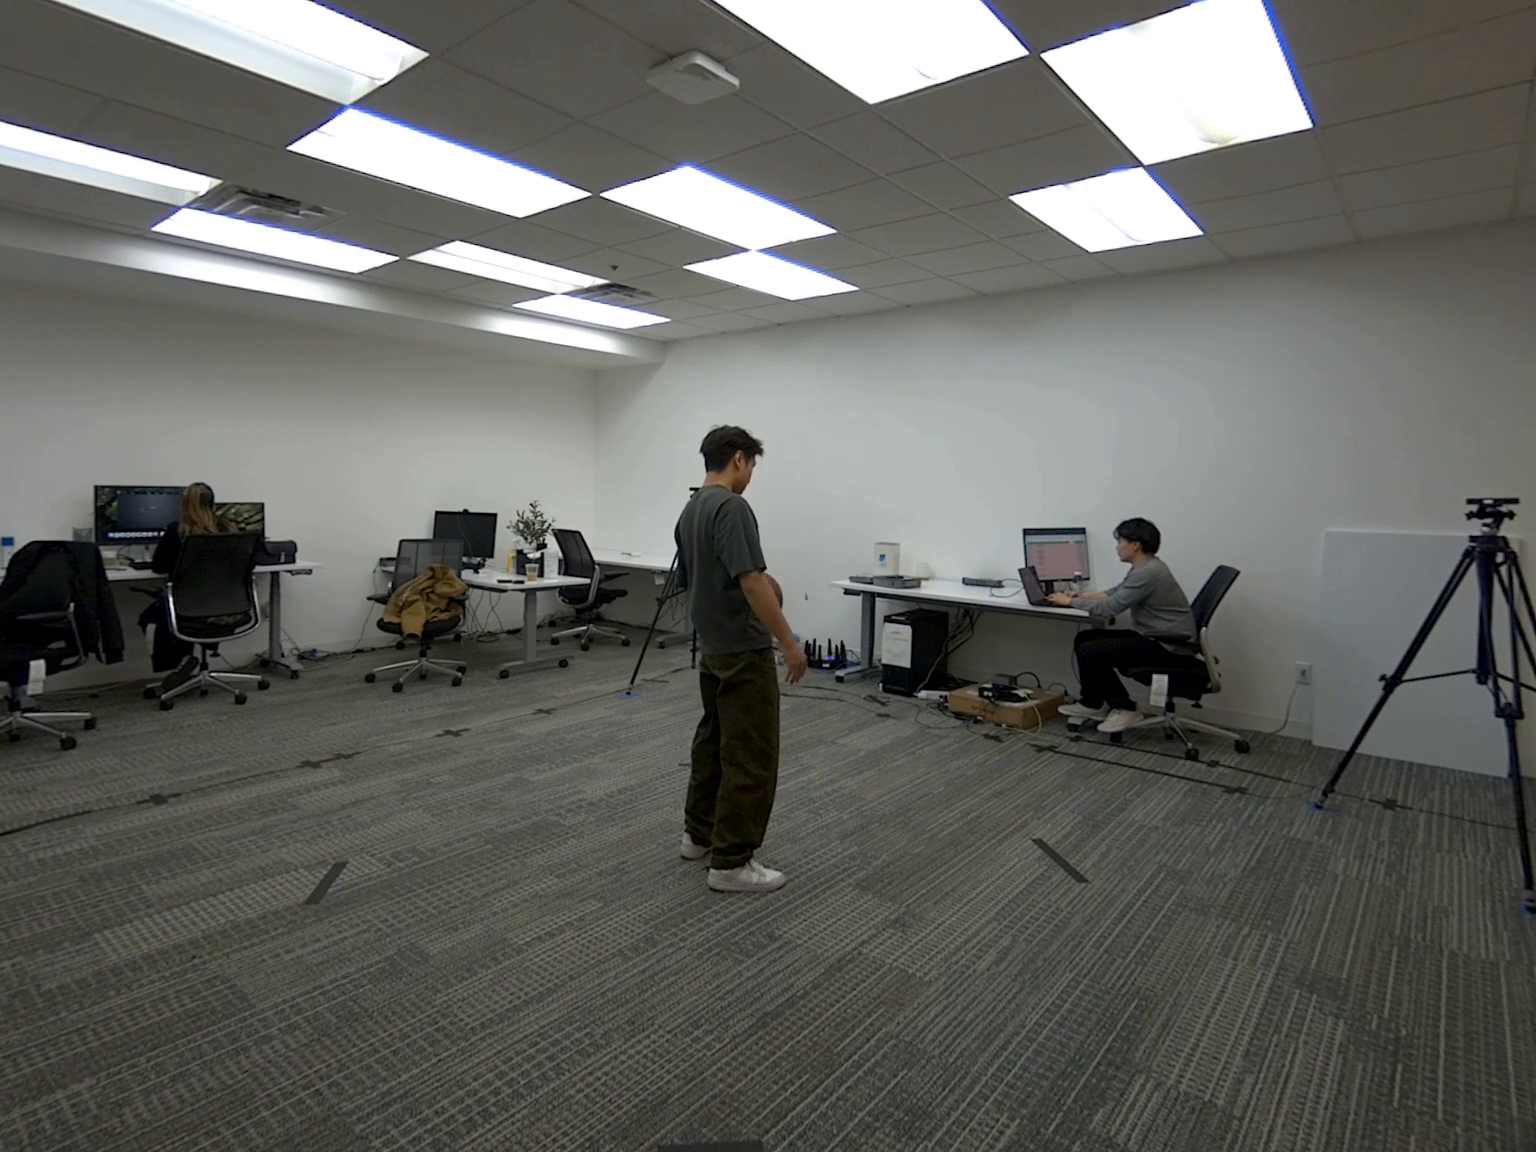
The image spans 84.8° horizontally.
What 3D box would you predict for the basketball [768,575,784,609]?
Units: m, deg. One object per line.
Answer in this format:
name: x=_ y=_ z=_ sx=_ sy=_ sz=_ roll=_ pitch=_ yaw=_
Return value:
basketball: x=-0.071 y=0.092 z=3.349 sx=0.235 sy=0.235 sz=0.237 roll=1 pitch=4 yaw=-2
